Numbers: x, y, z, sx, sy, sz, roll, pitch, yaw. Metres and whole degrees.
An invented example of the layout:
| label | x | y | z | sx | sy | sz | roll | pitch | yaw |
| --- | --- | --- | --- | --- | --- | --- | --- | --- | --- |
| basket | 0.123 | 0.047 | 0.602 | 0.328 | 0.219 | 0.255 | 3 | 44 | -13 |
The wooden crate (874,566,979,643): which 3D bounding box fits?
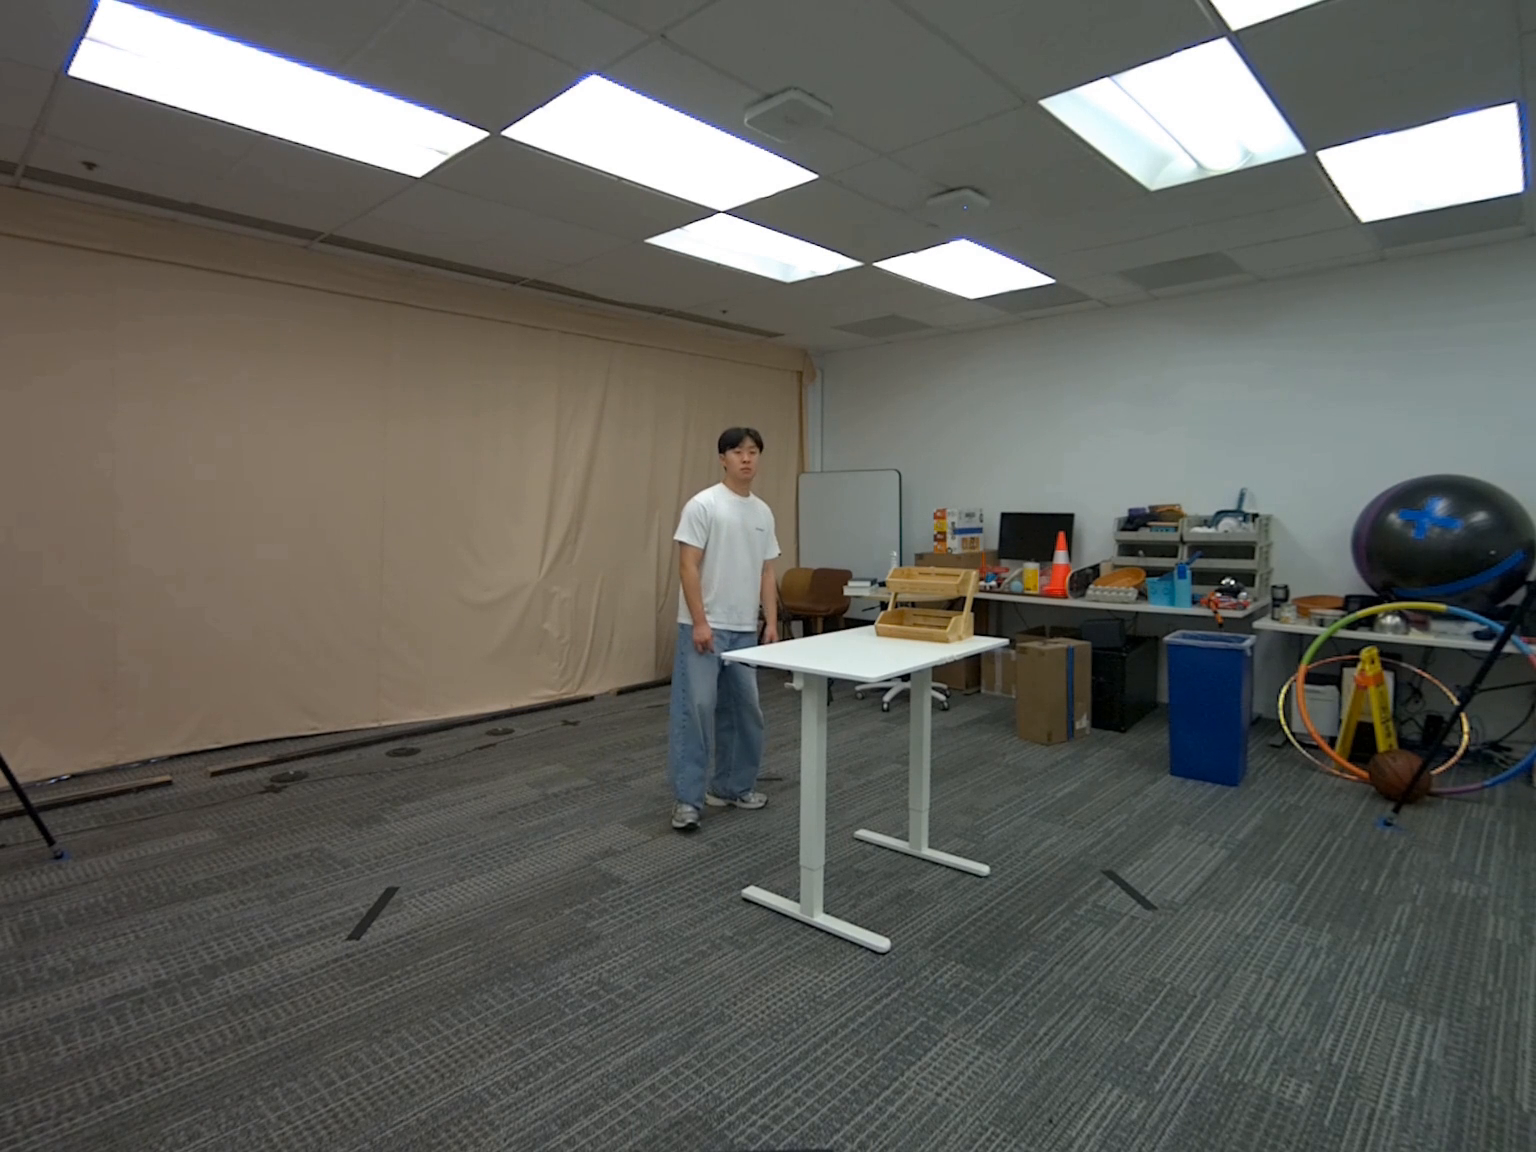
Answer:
| label | x | y | z | sx | sy | sz | roll | pitch | yaw |
| --- | --- | --- | --- | --- | --- | --- | --- | --- | --- |
| wooden crate | 0.627 | 0.104 | 3.303 | 0.335 | 0.273 | 0.293 | 3 | 3 | 35 |
